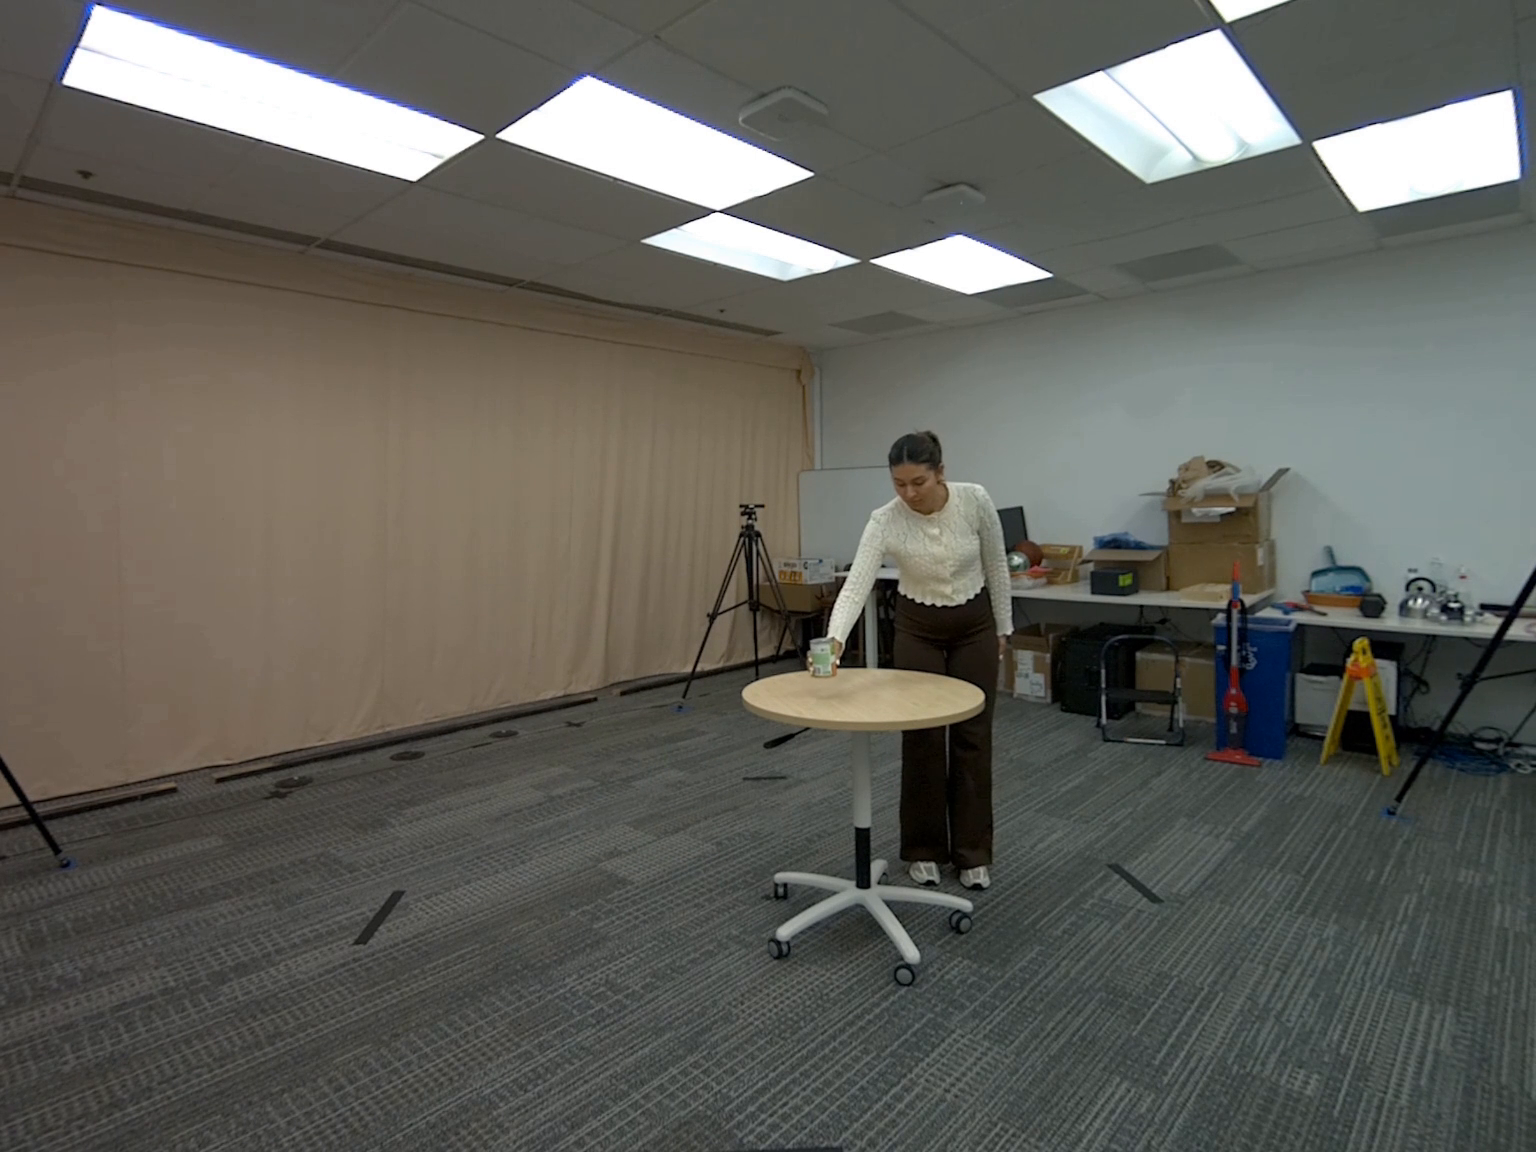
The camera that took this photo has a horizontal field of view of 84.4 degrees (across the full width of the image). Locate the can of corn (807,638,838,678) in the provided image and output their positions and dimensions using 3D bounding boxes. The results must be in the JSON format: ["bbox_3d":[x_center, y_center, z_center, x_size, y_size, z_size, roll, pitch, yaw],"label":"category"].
[{"bbox_3d":[0.165,0.253,2.613,0.074,0.111,0.074,-5,3,-2],"label":"can of corn"}]
